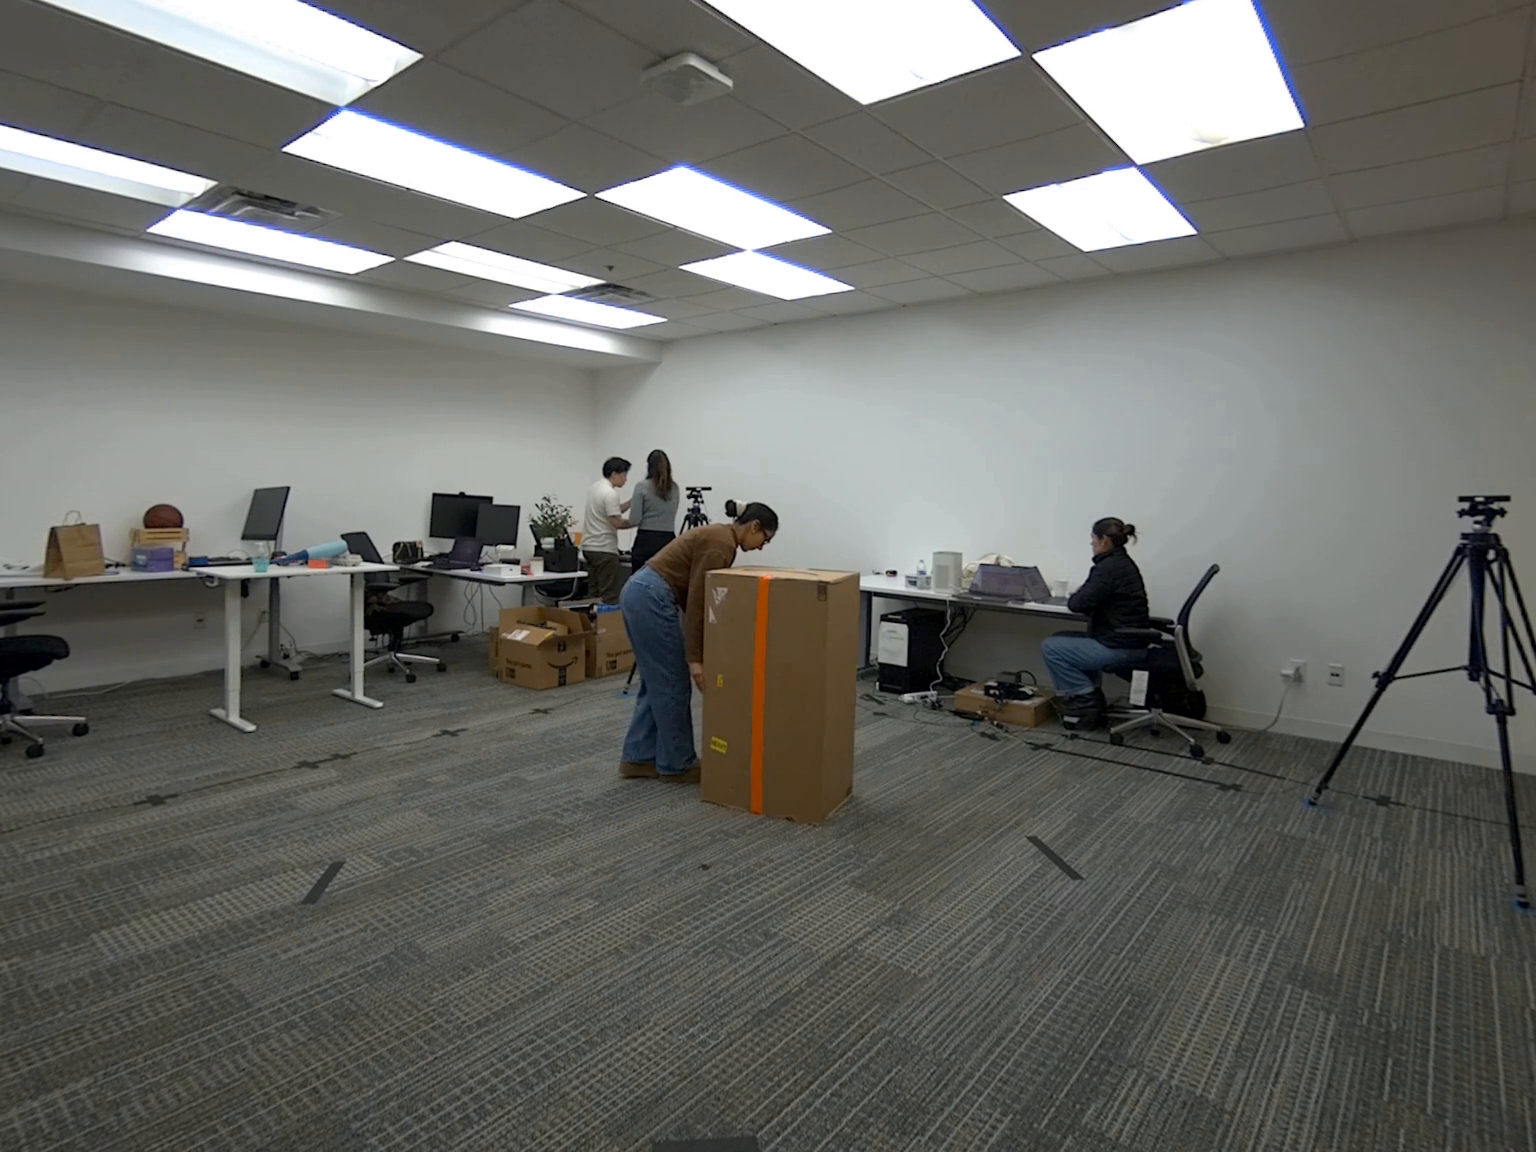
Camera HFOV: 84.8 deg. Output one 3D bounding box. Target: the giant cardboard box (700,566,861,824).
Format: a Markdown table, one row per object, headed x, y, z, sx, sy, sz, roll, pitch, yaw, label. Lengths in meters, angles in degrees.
| x | y | z | sx | sy | sz | roll | pitch | yaw | label |
| --- | --- | --- | --- | --- | --- | --- | --- | --- | --- |
| 0.050 | 0.491 | 3.799 | 0.593 | 1.022 | 0.416 | 3 | 4 | 26 | giant cardboard box |
